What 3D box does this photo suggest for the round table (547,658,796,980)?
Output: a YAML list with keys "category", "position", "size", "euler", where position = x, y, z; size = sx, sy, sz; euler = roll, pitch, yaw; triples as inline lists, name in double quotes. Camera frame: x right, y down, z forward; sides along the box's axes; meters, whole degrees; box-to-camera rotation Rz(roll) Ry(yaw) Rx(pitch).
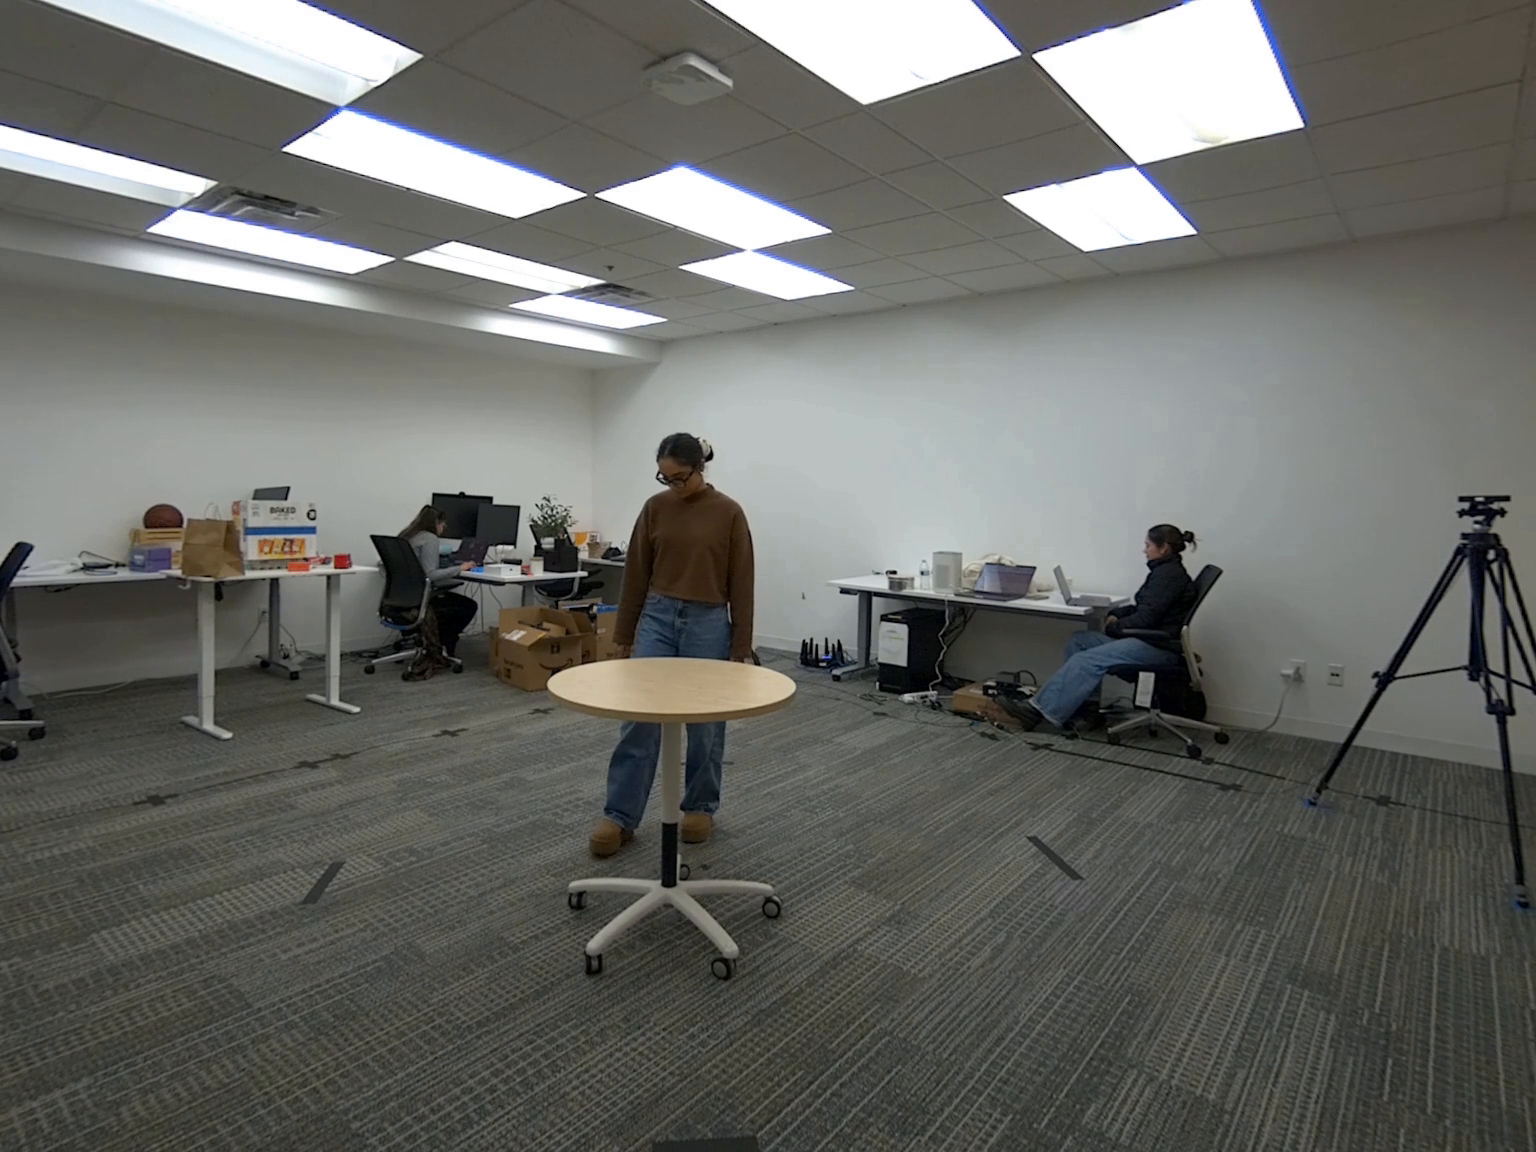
- category: "round table"
  position: [-0.313, 0.717, 2.671]
  size: [0.763, 0.791, 0.768]
  euler: [1, 4, -2]
